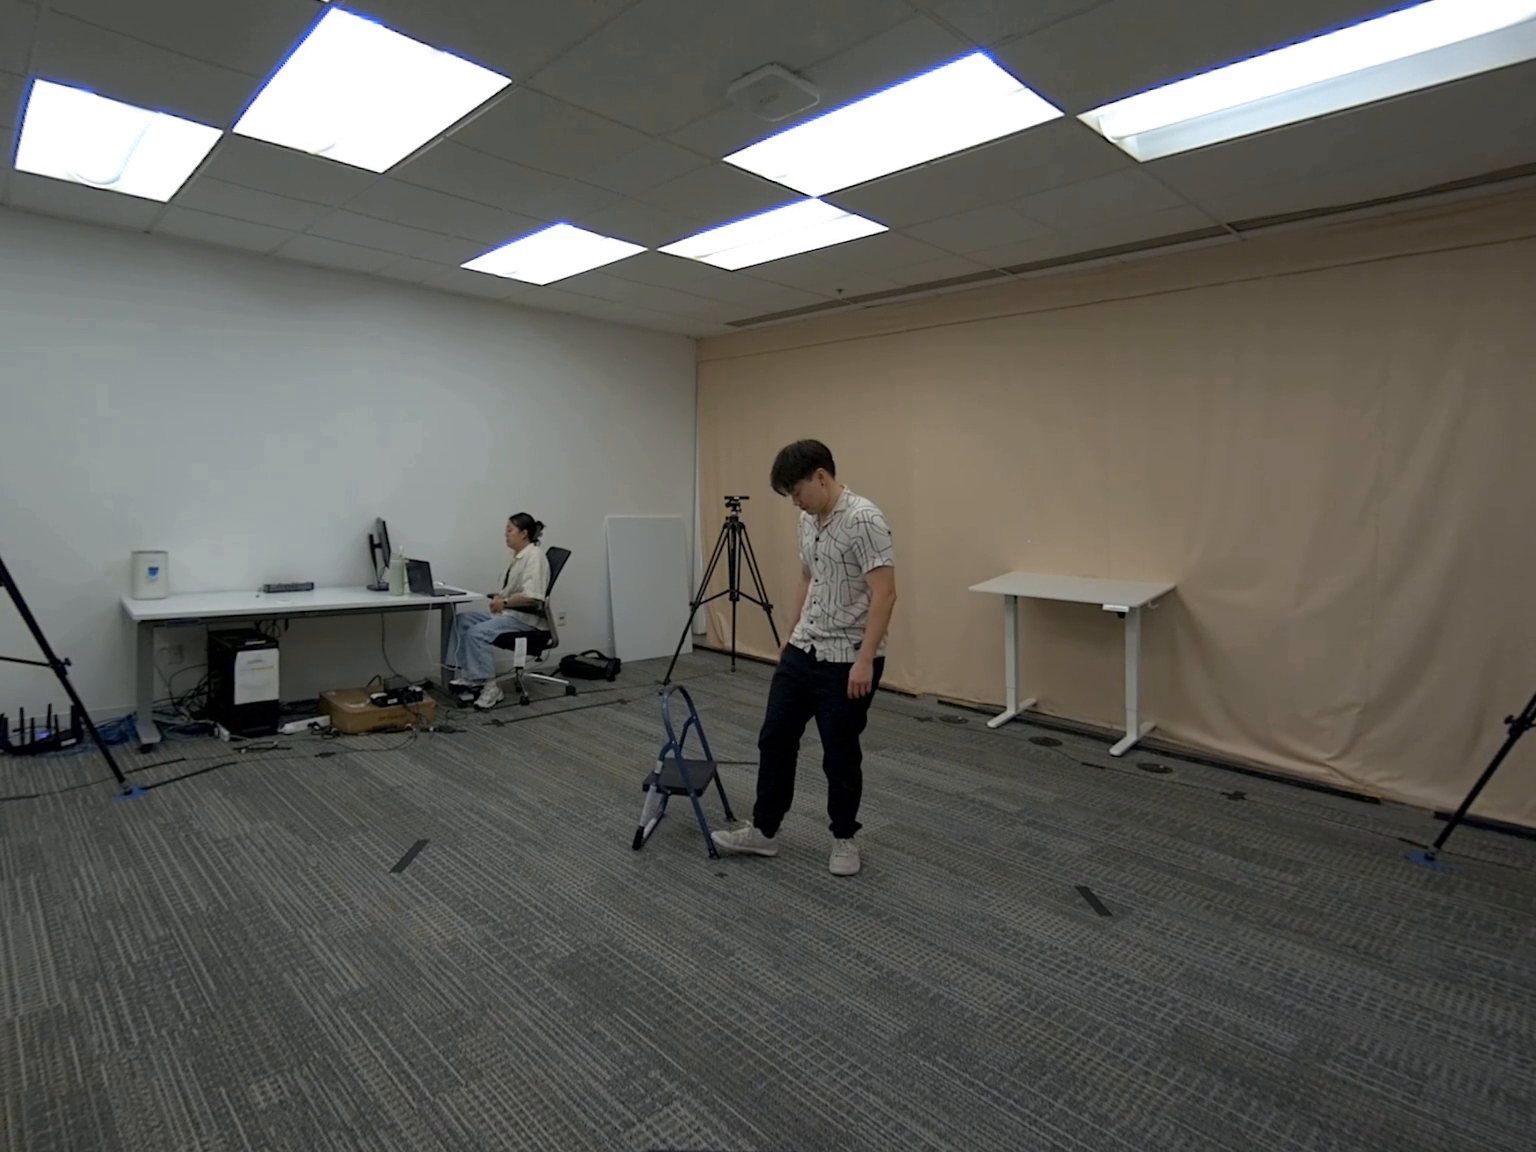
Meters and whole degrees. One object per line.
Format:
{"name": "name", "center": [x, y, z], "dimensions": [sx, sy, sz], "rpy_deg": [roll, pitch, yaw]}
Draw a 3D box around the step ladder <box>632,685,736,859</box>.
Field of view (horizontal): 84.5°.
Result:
{"name": "step ladder", "center": [-0.339, 0.766, 3.464], "dimensions": [0.352, 0.604, 0.428], "rpy_deg": [2, 4, 8]}
